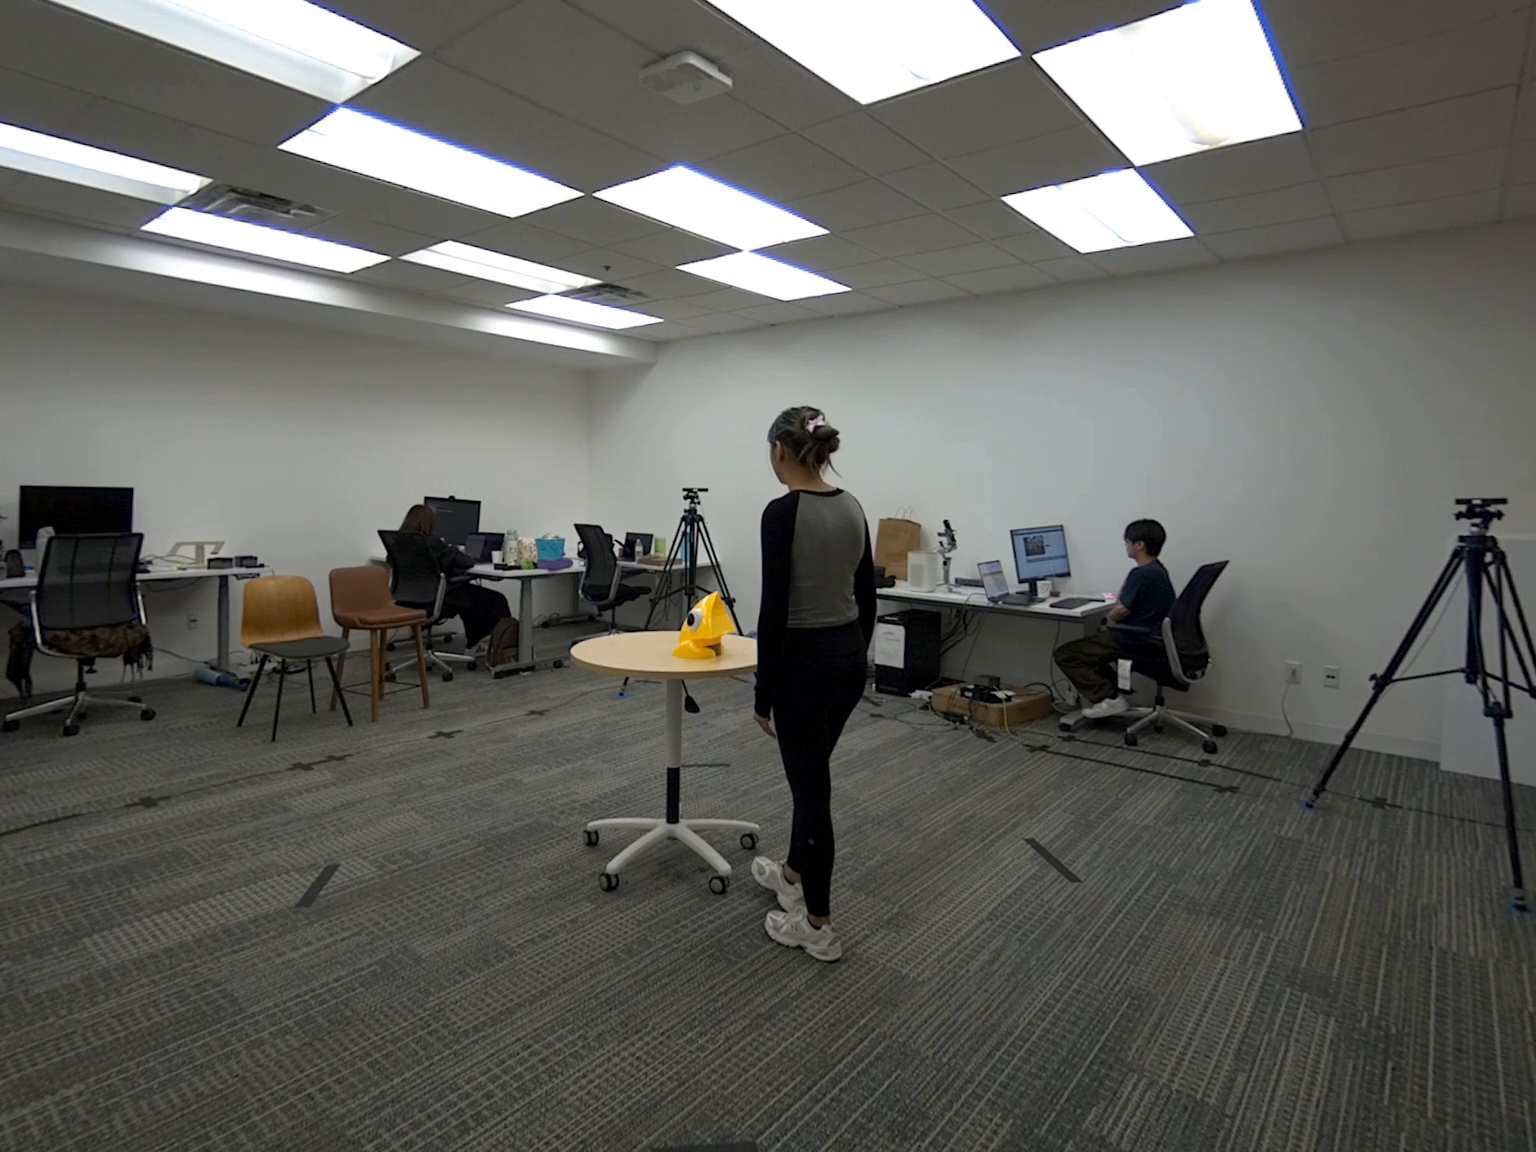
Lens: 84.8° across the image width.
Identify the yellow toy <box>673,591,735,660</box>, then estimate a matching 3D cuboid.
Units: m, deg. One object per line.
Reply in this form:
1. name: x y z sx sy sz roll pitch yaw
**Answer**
1. yellow toy: -0.252 0.164 3.073 0.198 0.230 0.200 3 4 23
